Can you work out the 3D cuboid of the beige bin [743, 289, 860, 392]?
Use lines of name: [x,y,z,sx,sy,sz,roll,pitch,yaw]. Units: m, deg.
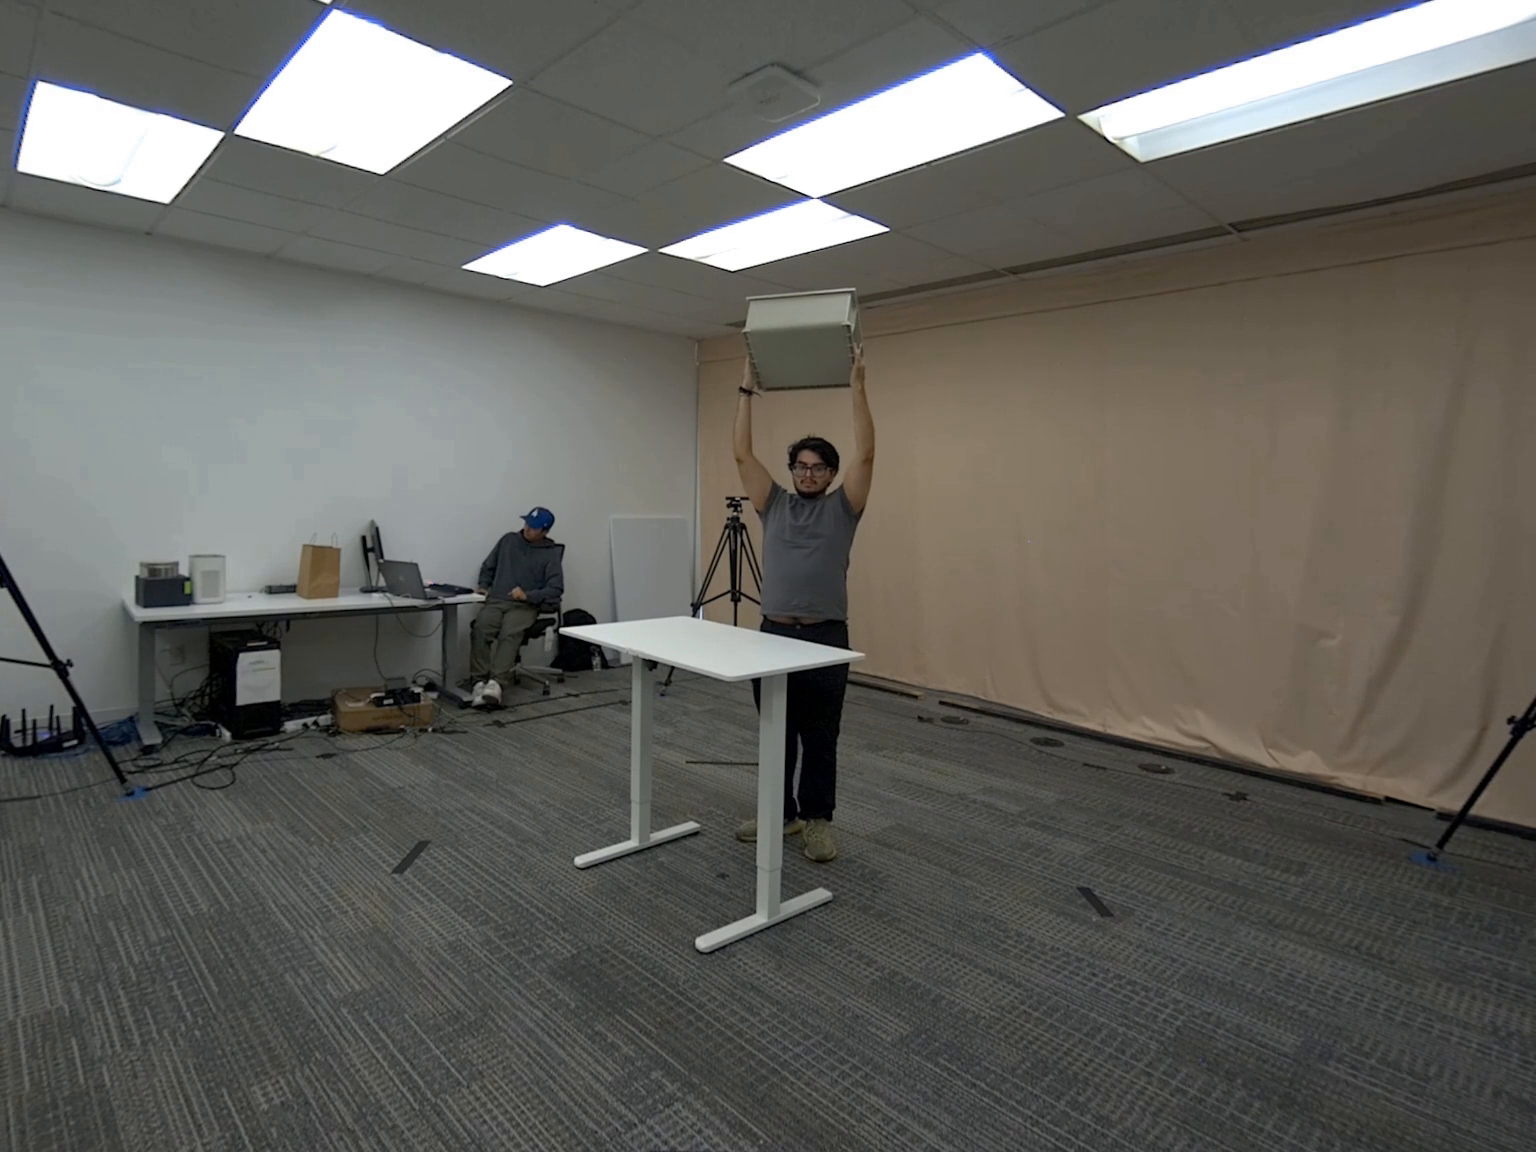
beige bin: [0.137,-0.895,3.284,0.428,0.192,0.367,1,-31,15]
